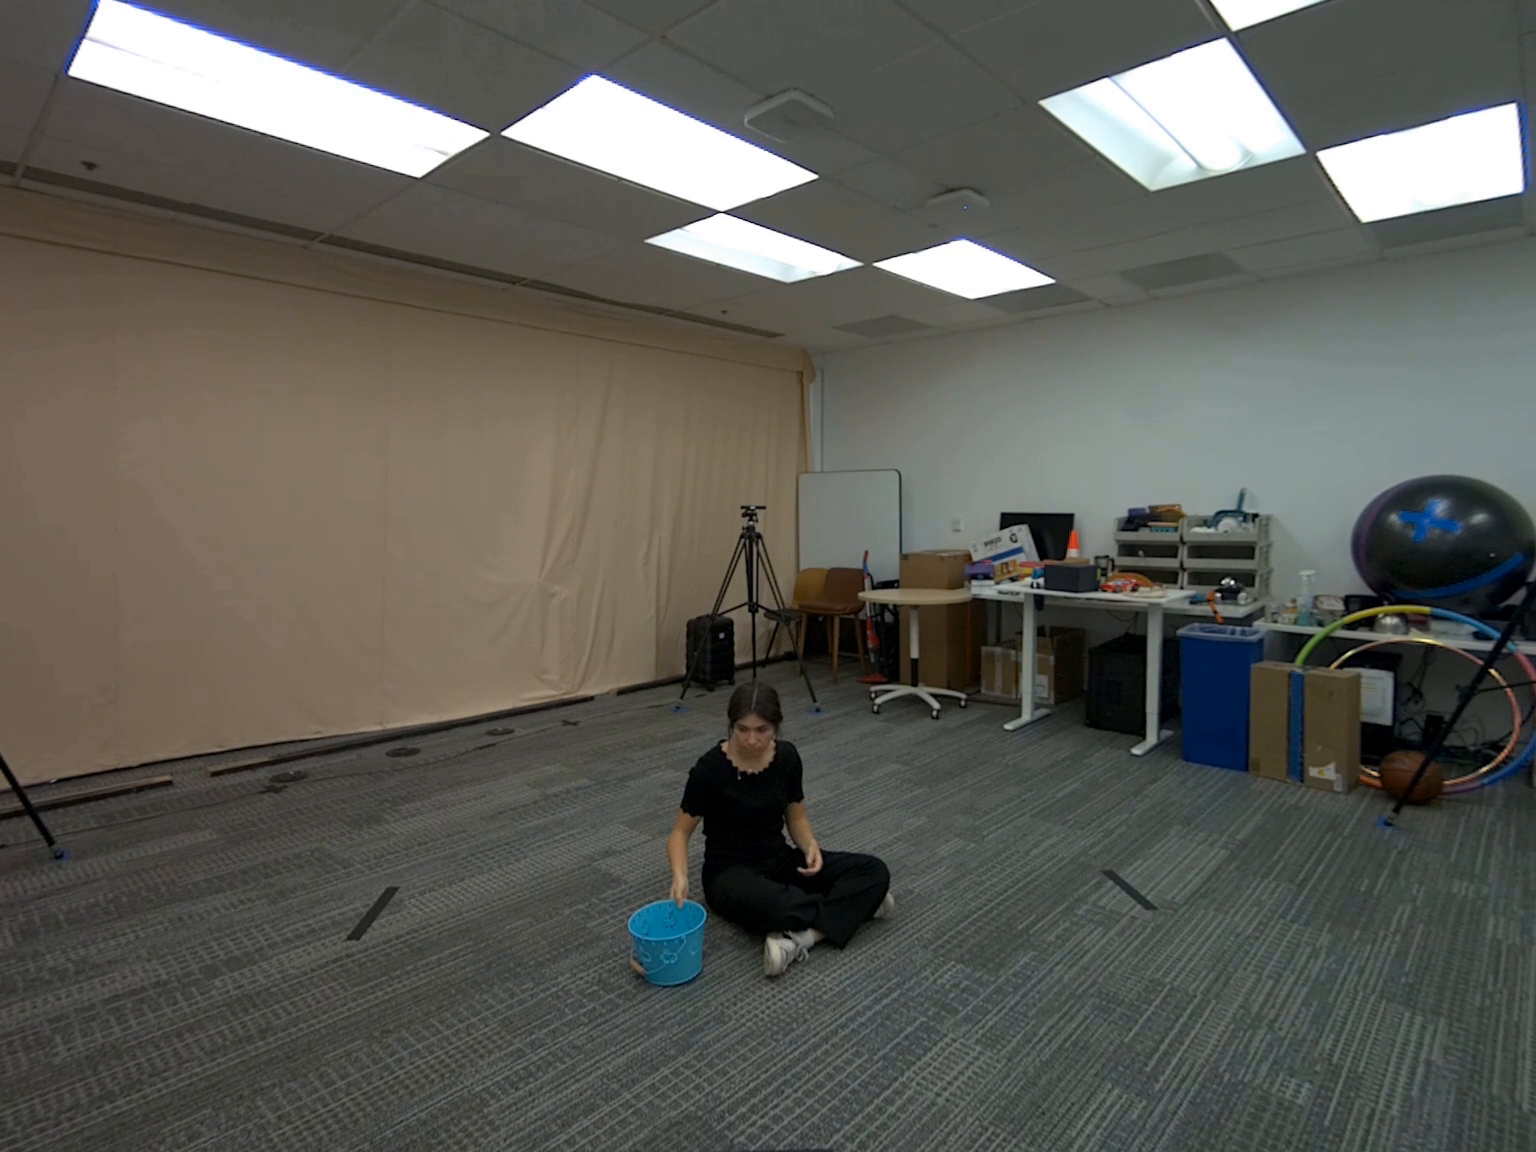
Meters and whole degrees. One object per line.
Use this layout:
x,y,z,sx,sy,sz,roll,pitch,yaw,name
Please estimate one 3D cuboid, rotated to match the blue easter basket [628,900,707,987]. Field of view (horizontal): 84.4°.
-0.300,1.095,2.518,0.243,0.155,0.244,-5,5,-1,blue easter basket
